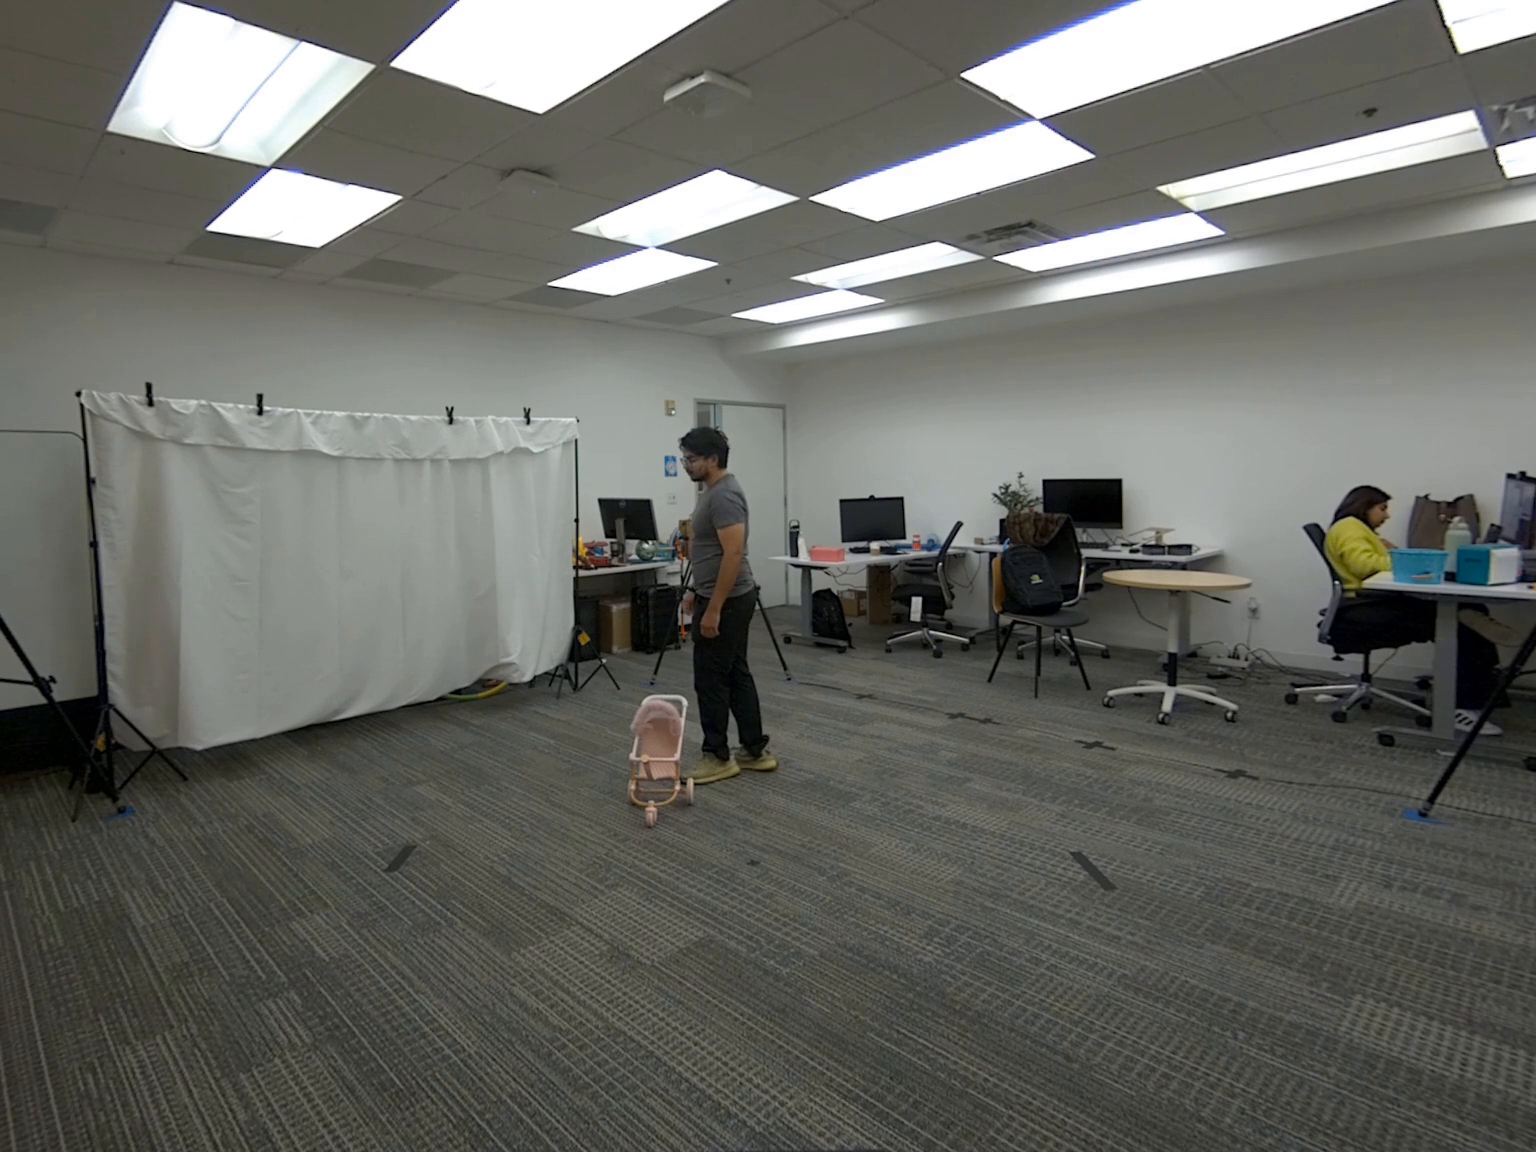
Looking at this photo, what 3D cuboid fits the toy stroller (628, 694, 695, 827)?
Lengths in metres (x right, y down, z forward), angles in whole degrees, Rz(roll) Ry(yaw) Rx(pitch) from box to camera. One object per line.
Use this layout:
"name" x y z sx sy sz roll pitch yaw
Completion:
"toy stroller" -0.469 0.767 3.623 0.284 0.541 0.335 -1 -12 8
